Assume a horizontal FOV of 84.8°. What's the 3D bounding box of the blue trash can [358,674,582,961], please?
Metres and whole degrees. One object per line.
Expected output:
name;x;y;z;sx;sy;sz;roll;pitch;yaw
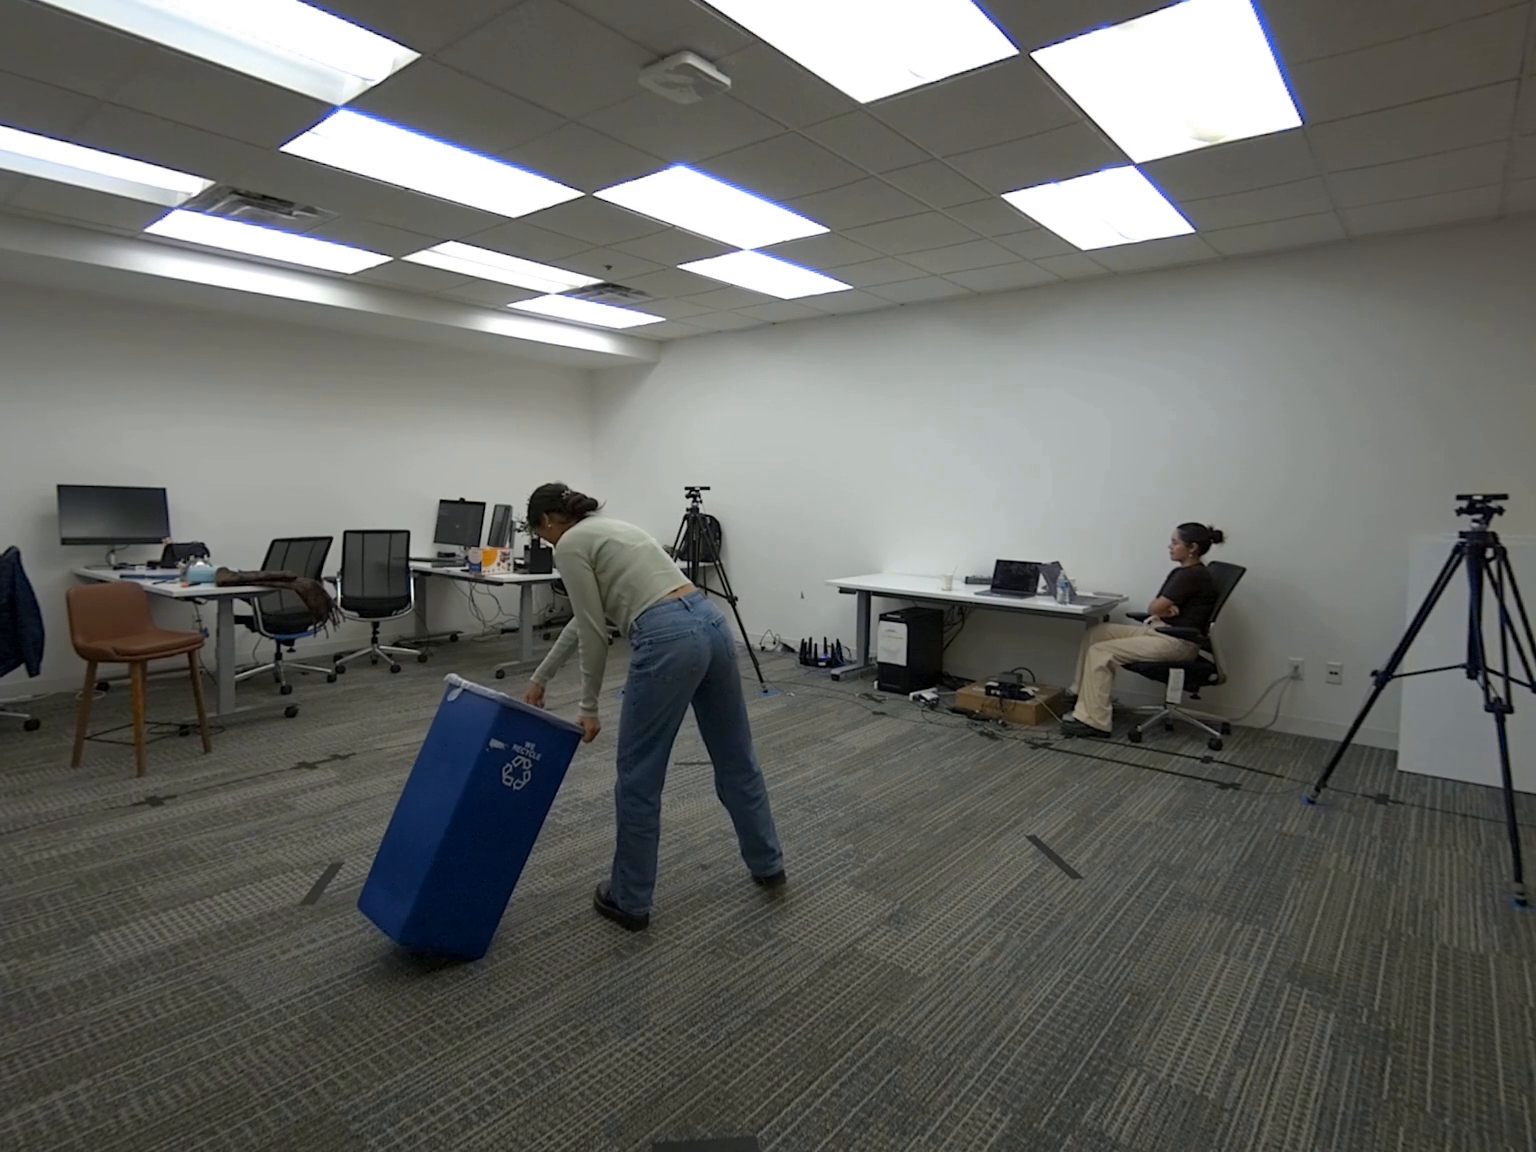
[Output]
blue trash can;-0.919;0.725;2.620;0.391;0.719;0.358;6;-21;43
